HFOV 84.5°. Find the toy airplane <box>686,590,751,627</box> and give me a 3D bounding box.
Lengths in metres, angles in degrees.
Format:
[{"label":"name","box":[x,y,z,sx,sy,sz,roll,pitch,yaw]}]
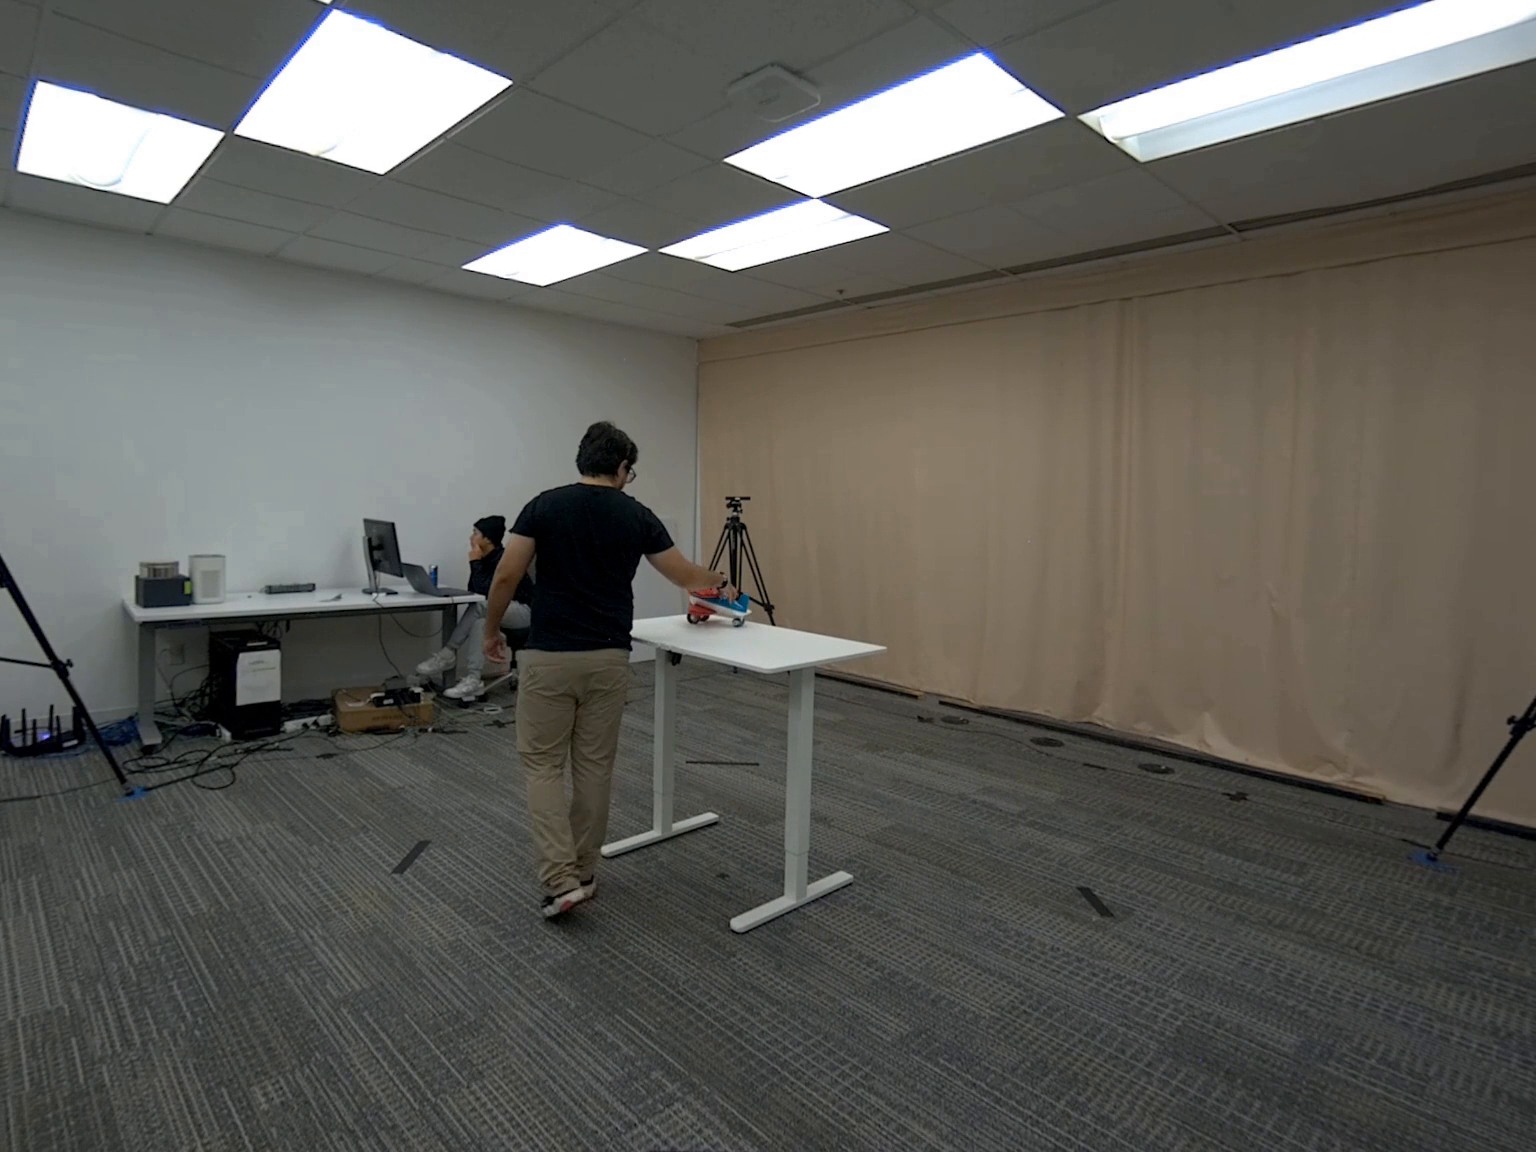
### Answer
[{"label":"toy airplane","box":[-0.206,0.118,3.391,0.258,0.156,0.253,0,6,-6]}]
